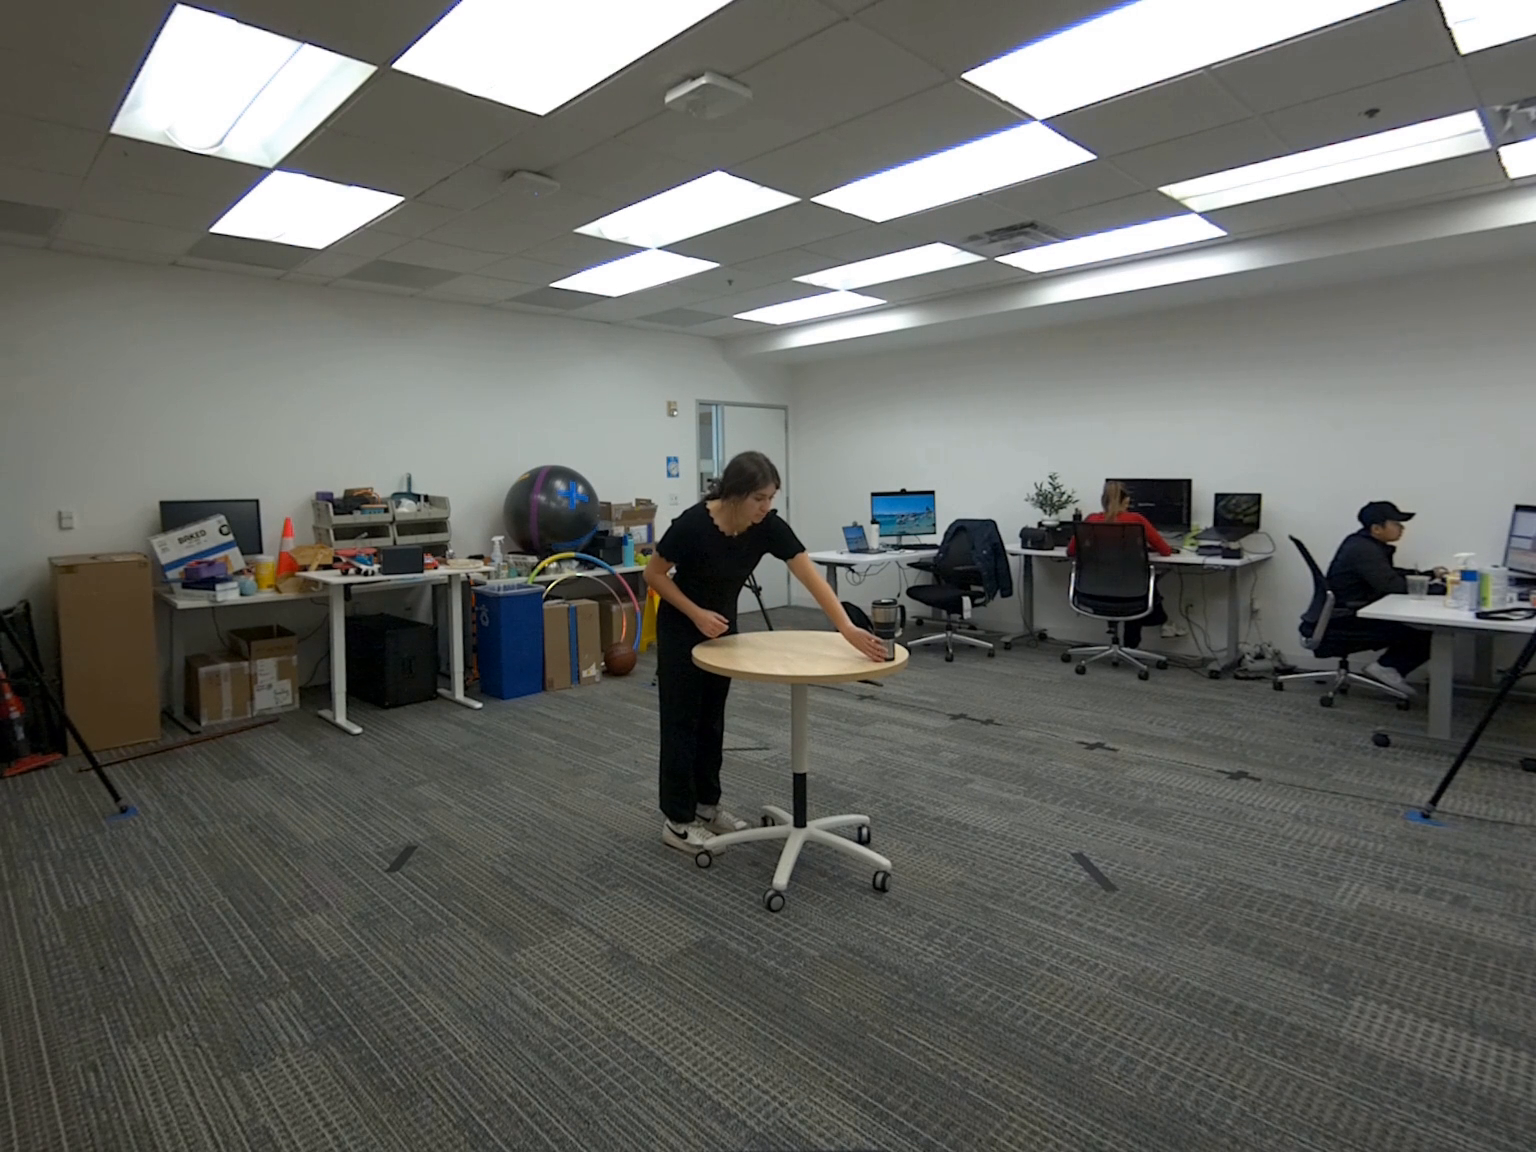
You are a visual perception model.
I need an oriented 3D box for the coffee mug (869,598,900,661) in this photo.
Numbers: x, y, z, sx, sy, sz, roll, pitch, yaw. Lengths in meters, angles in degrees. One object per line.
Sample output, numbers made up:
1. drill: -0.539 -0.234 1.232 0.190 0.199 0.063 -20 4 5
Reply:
1. coffee mug: 0.424 0.182 2.878 0.124 0.203 0.086 -5 0 15
